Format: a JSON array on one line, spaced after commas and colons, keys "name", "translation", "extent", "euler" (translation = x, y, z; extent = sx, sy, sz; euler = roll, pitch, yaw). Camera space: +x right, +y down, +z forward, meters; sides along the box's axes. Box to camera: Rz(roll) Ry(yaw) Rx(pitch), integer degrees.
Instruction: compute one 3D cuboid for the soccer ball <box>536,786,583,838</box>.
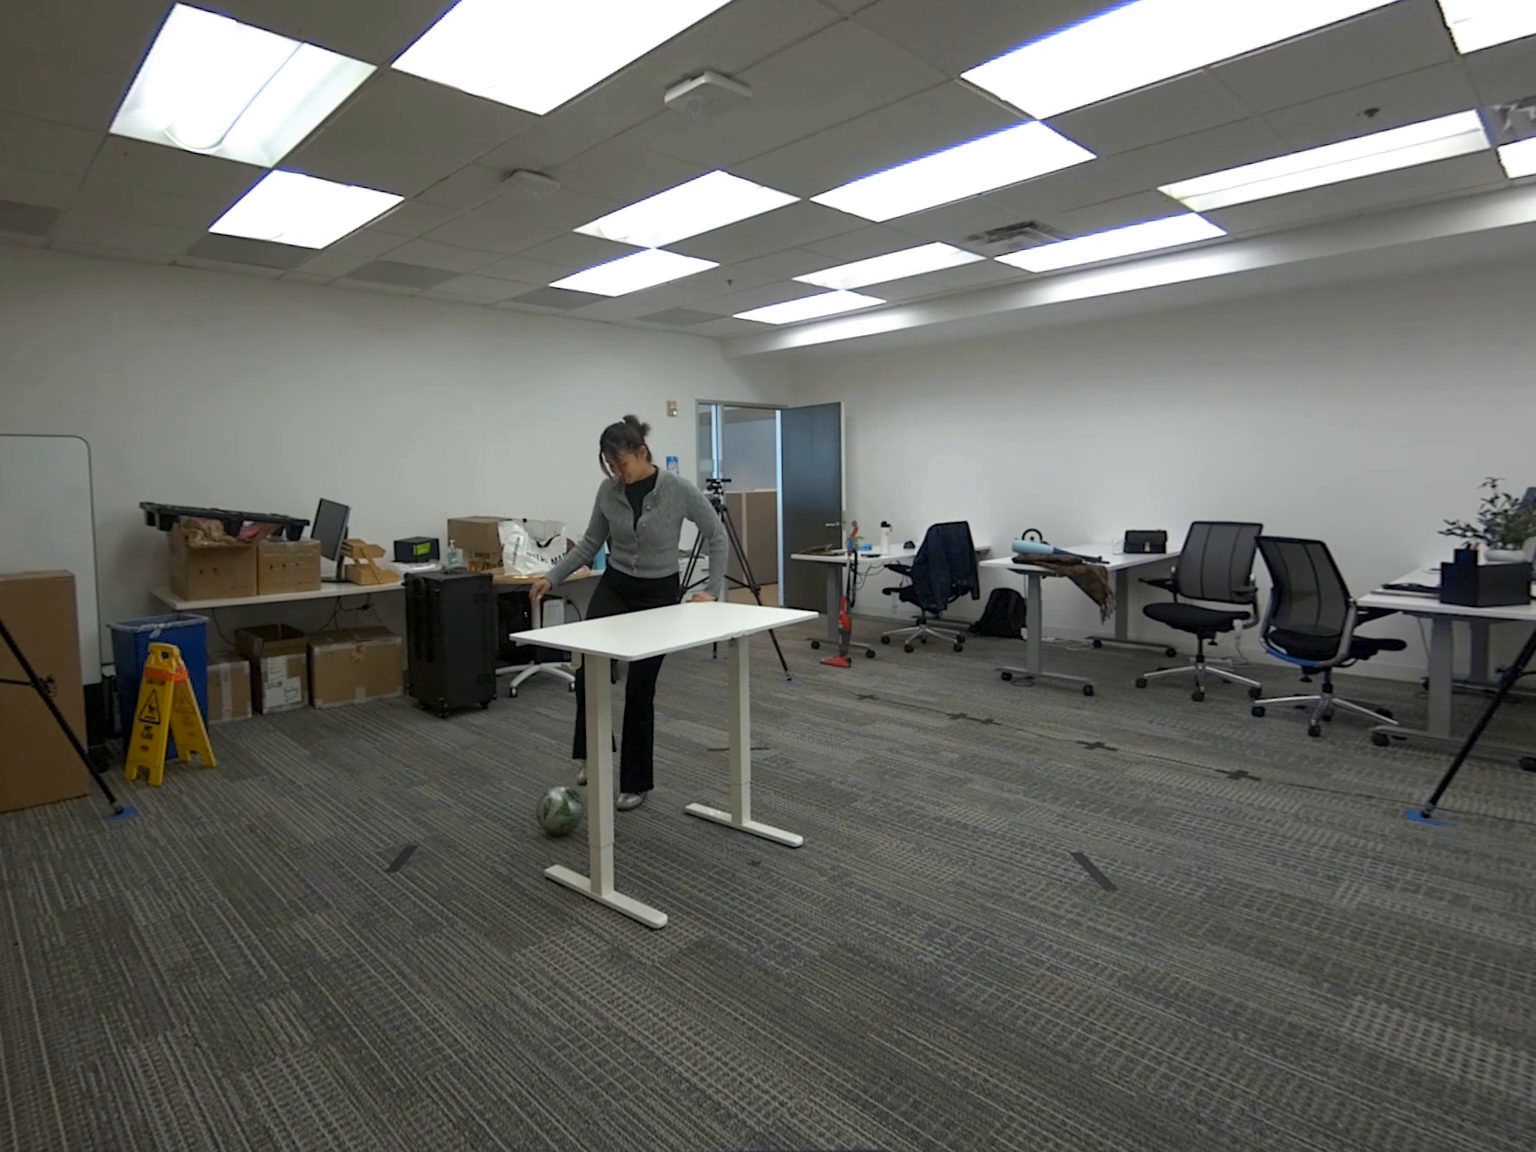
[{"name": "soccer ball", "translation": [-0.828, 0.933, 3.396], "extent": [0.187, 0.187, 0.188], "euler": [-1, 5, -2]}]
